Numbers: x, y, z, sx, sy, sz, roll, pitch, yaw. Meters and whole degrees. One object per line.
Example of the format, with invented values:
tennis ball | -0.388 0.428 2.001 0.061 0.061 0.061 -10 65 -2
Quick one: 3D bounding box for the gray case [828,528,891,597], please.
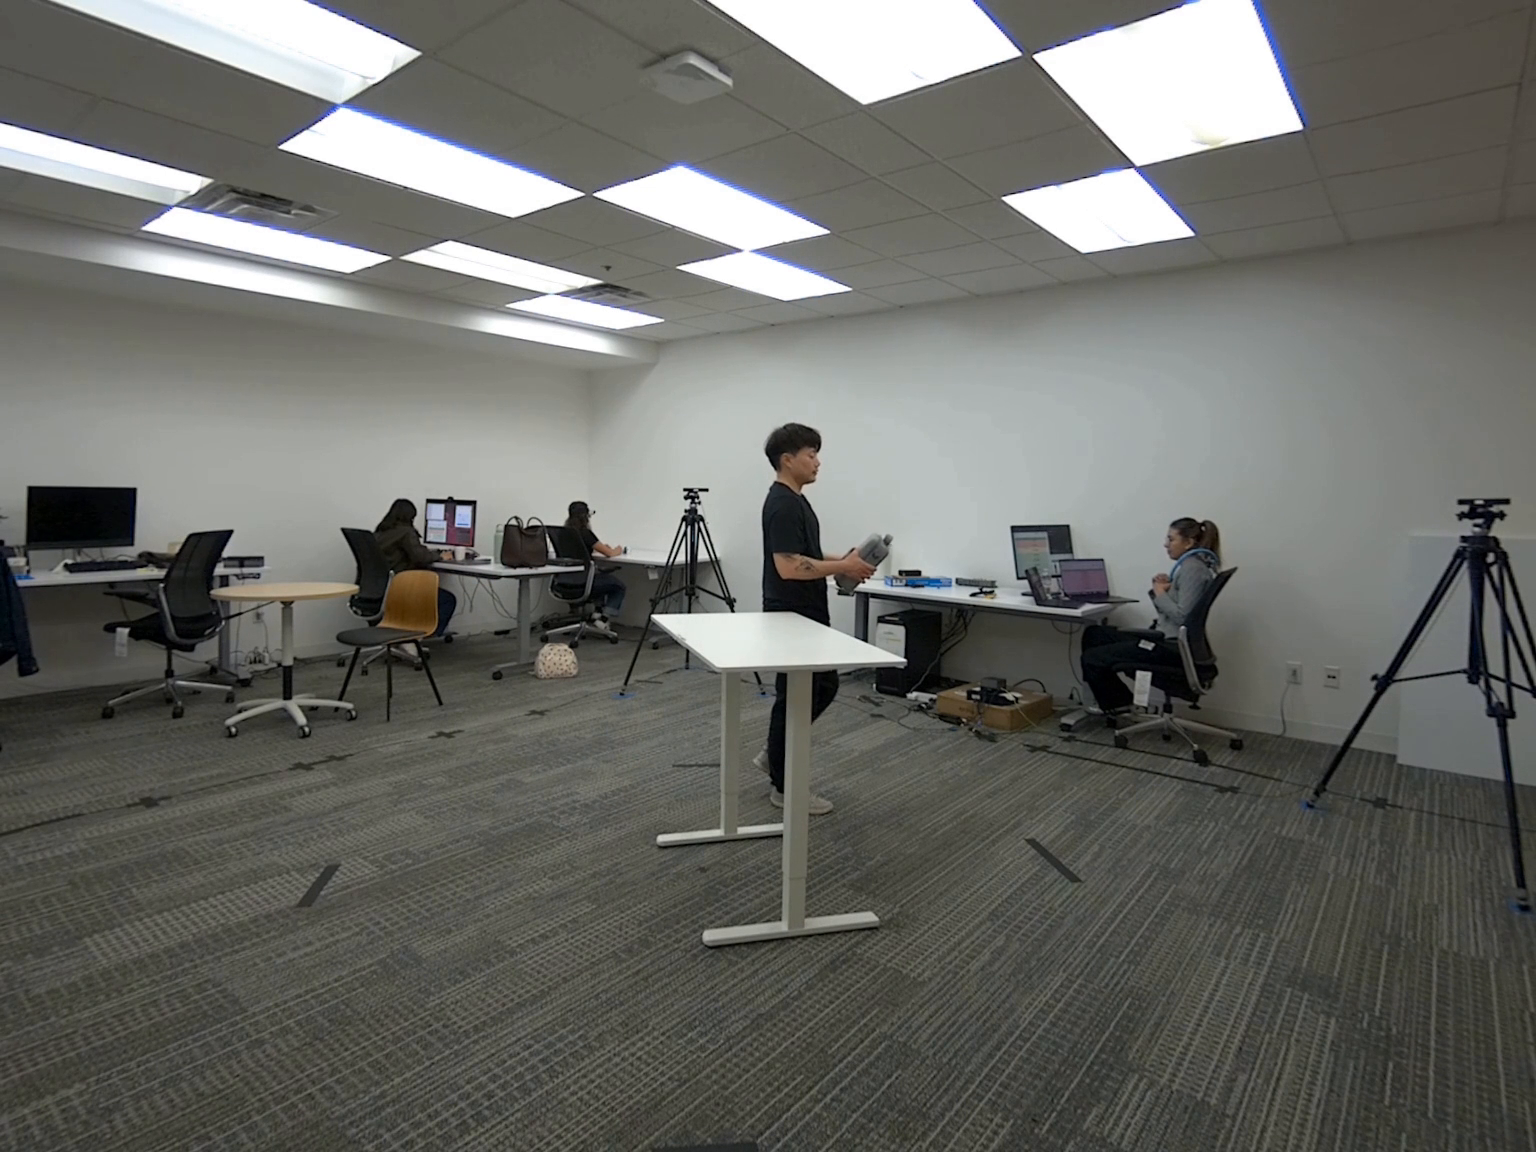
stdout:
gray case | 0.396 -0.065 3.628 0.104 0.261 0.256 45 13 0
